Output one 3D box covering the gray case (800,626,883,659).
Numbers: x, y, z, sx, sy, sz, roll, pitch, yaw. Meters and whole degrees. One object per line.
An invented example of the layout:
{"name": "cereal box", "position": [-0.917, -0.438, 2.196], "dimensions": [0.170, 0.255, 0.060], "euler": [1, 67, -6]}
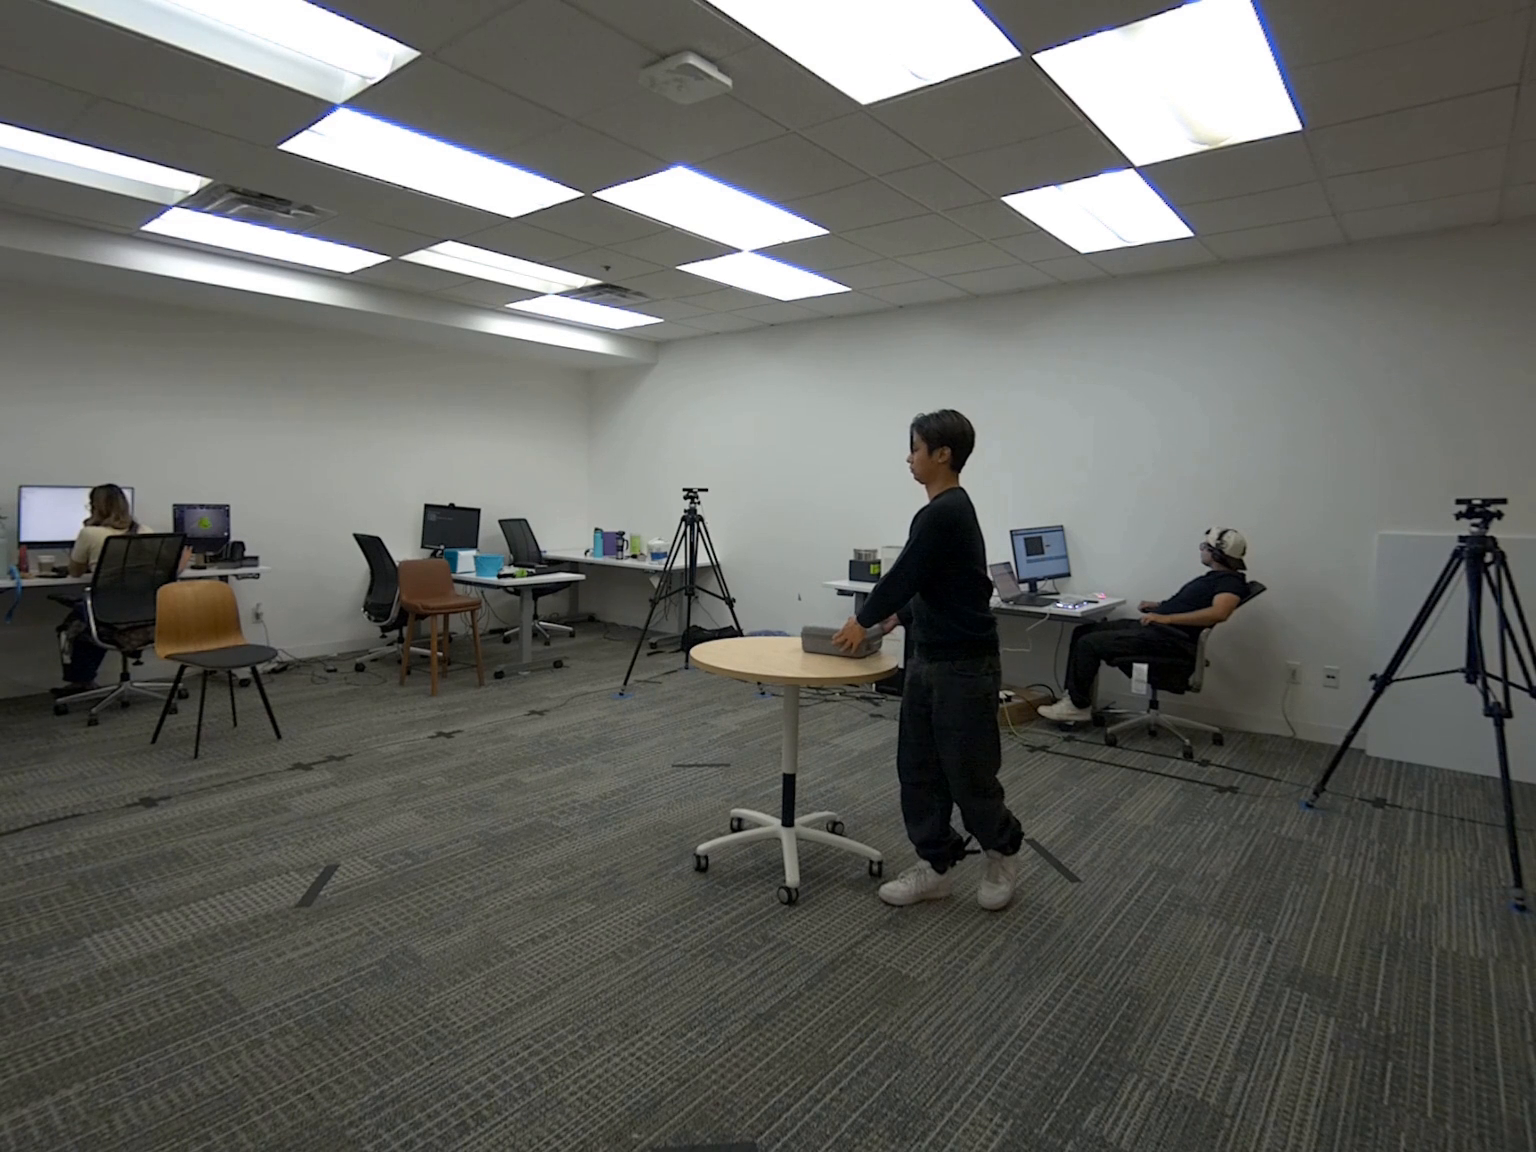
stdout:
{"name": "gray case", "position": [0.277, 0.232, 3.260], "dimensions": [0.267, 0.104, 0.251], "euler": [3, 4, 25]}
